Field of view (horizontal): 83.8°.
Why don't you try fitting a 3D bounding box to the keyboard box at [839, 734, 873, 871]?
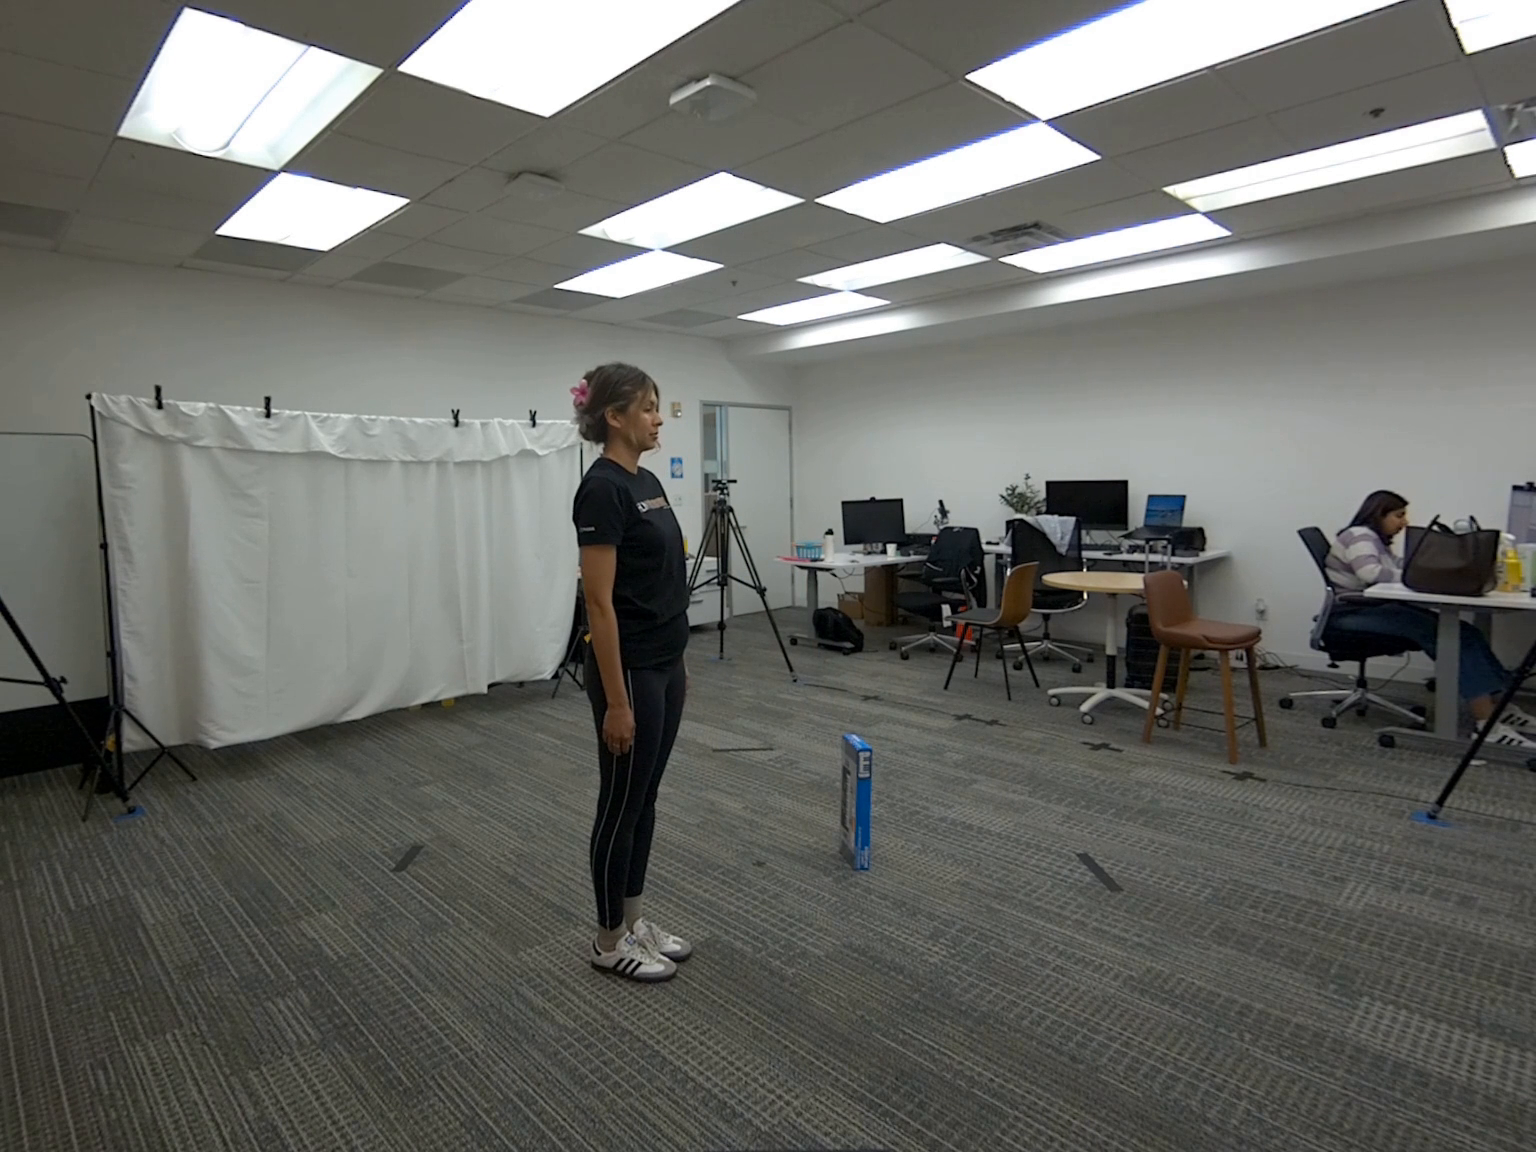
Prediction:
[{"bbox_3d":[0.321,0.822,3.115,0.058,0.436,0.178,1,3,-12],"label":"keyboard box"}]
